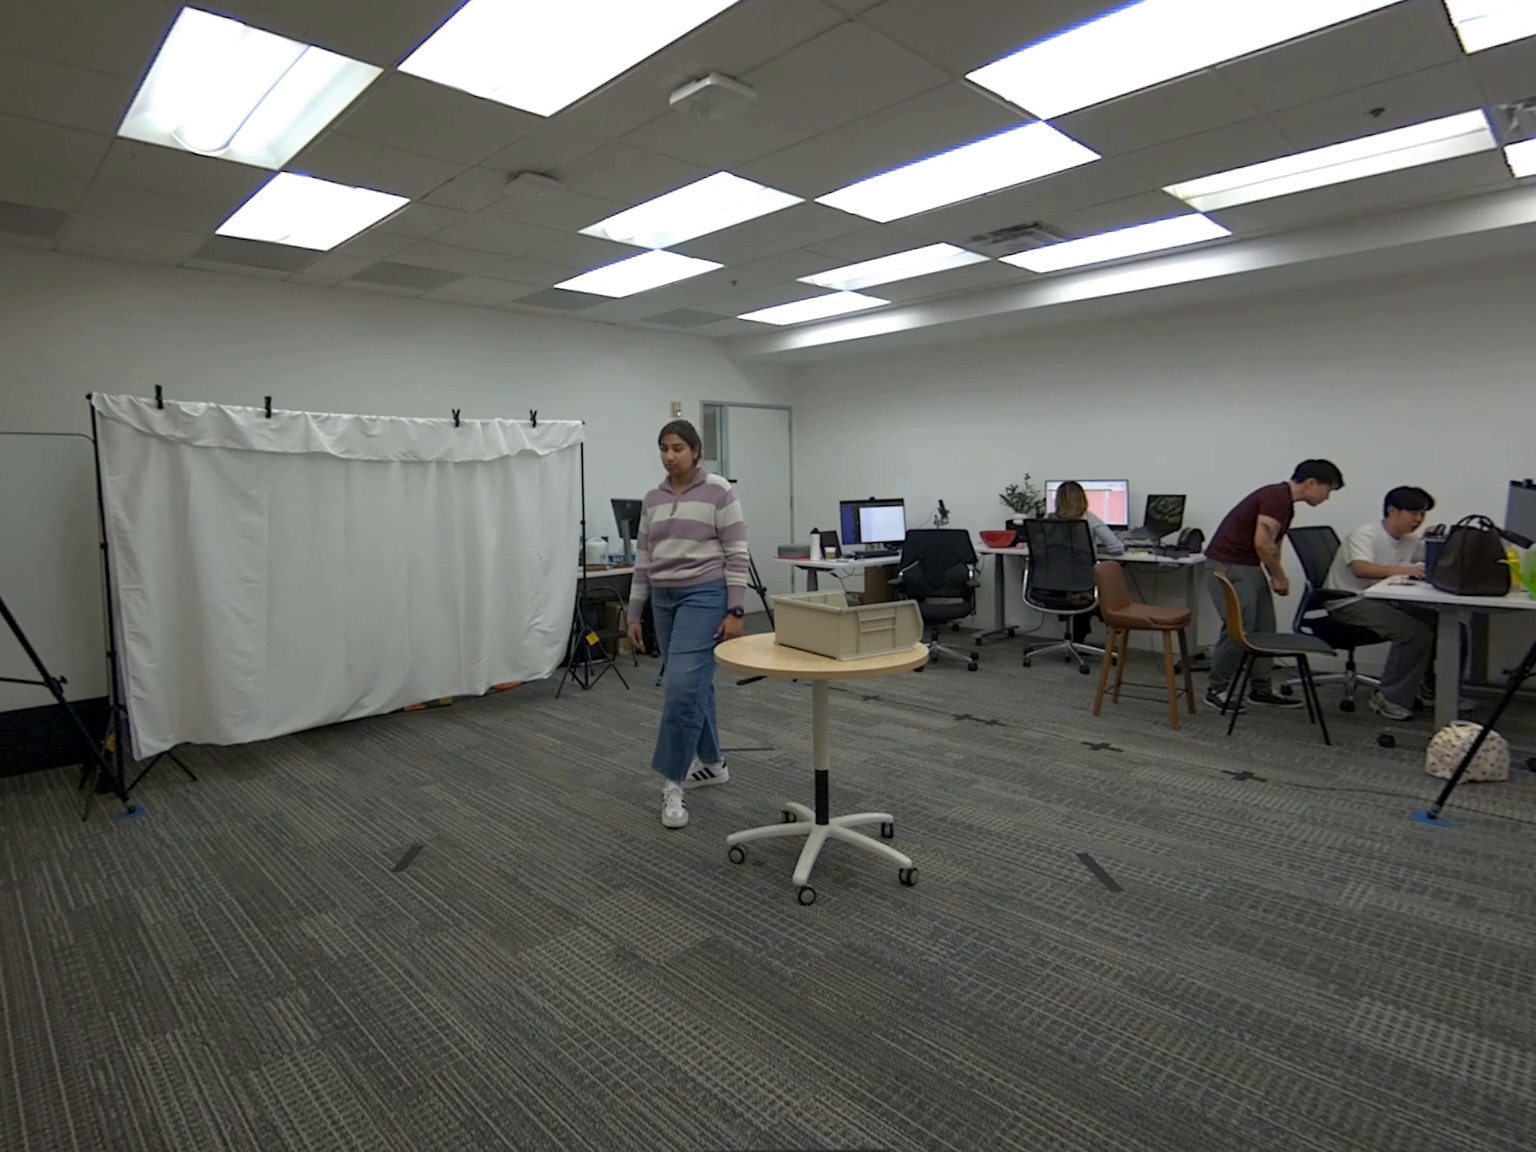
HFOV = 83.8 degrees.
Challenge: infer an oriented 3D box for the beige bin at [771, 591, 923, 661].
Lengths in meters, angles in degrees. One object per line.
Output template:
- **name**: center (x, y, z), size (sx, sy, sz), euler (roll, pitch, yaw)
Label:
- **beige bin**: center (0.280, 0.171, 3.100), size (0.369, 0.188, 0.434), euler (-7, 8, -32)
